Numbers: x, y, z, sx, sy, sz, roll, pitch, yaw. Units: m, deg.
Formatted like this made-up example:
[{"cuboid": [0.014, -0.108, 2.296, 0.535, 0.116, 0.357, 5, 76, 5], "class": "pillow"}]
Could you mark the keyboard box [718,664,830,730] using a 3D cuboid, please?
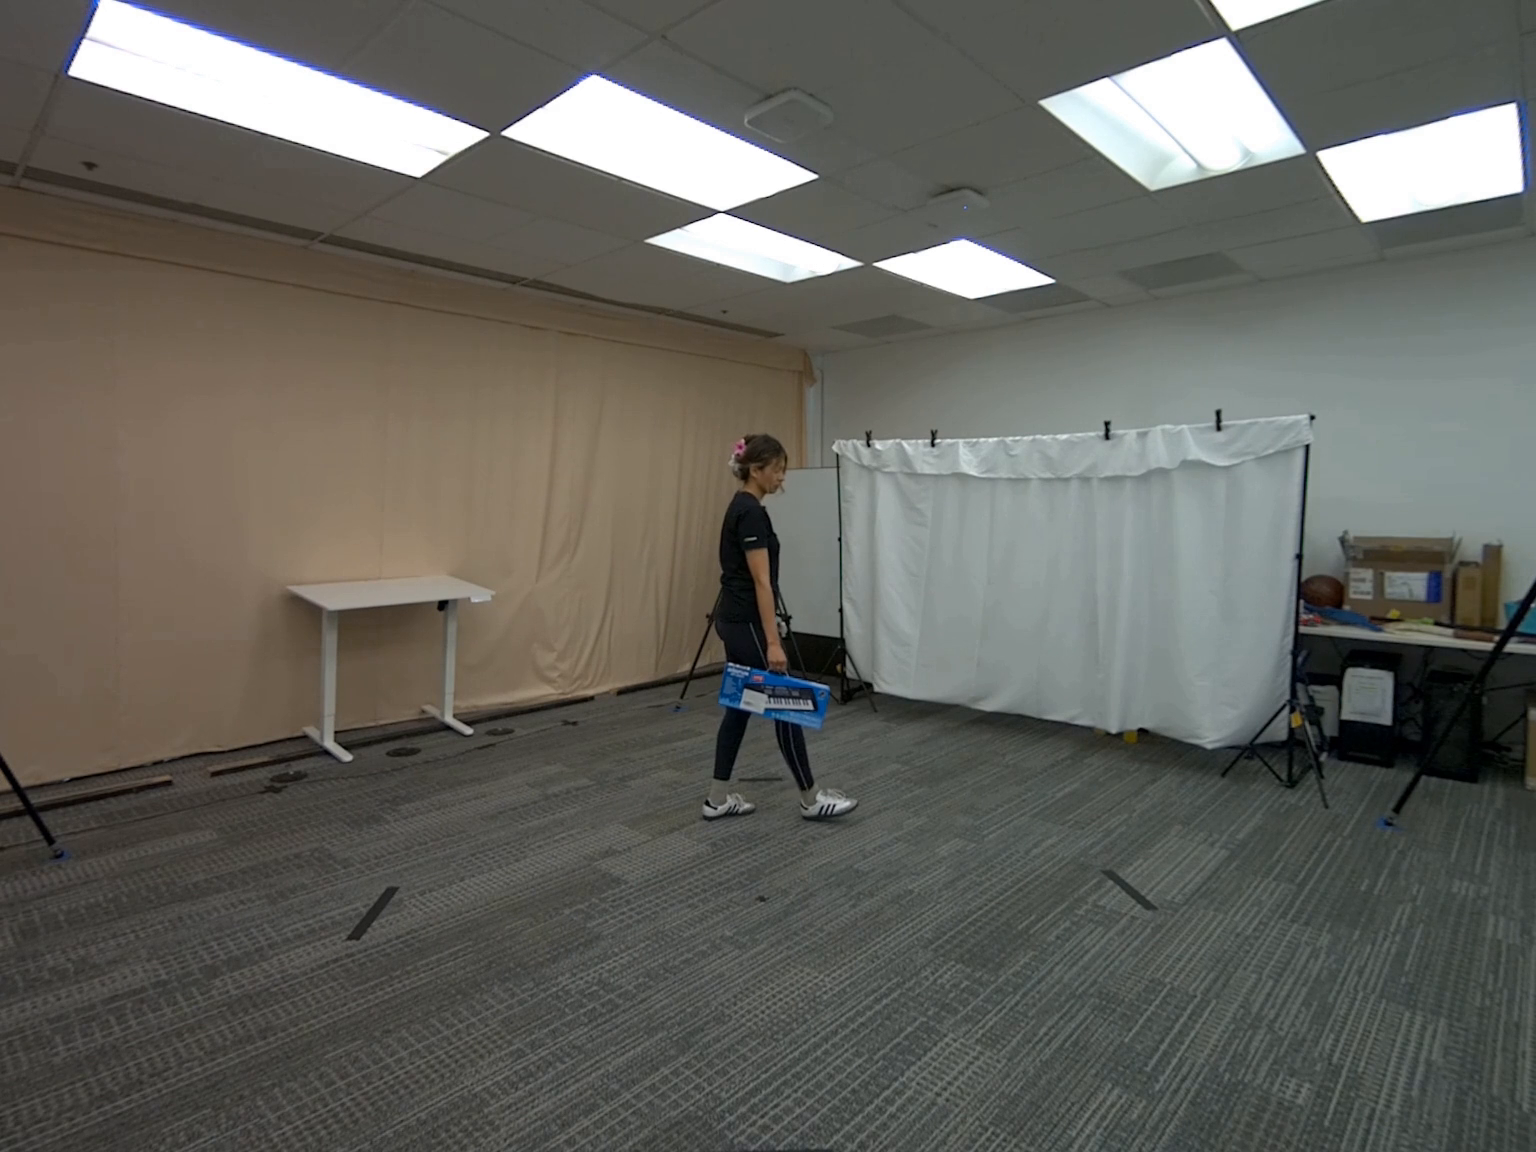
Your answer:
[{"cuboid": [0.032, 0.492, 3.473, 0.440, 0.175, 0.059, 13, 7, 5], "class": "keyboard box"}]
